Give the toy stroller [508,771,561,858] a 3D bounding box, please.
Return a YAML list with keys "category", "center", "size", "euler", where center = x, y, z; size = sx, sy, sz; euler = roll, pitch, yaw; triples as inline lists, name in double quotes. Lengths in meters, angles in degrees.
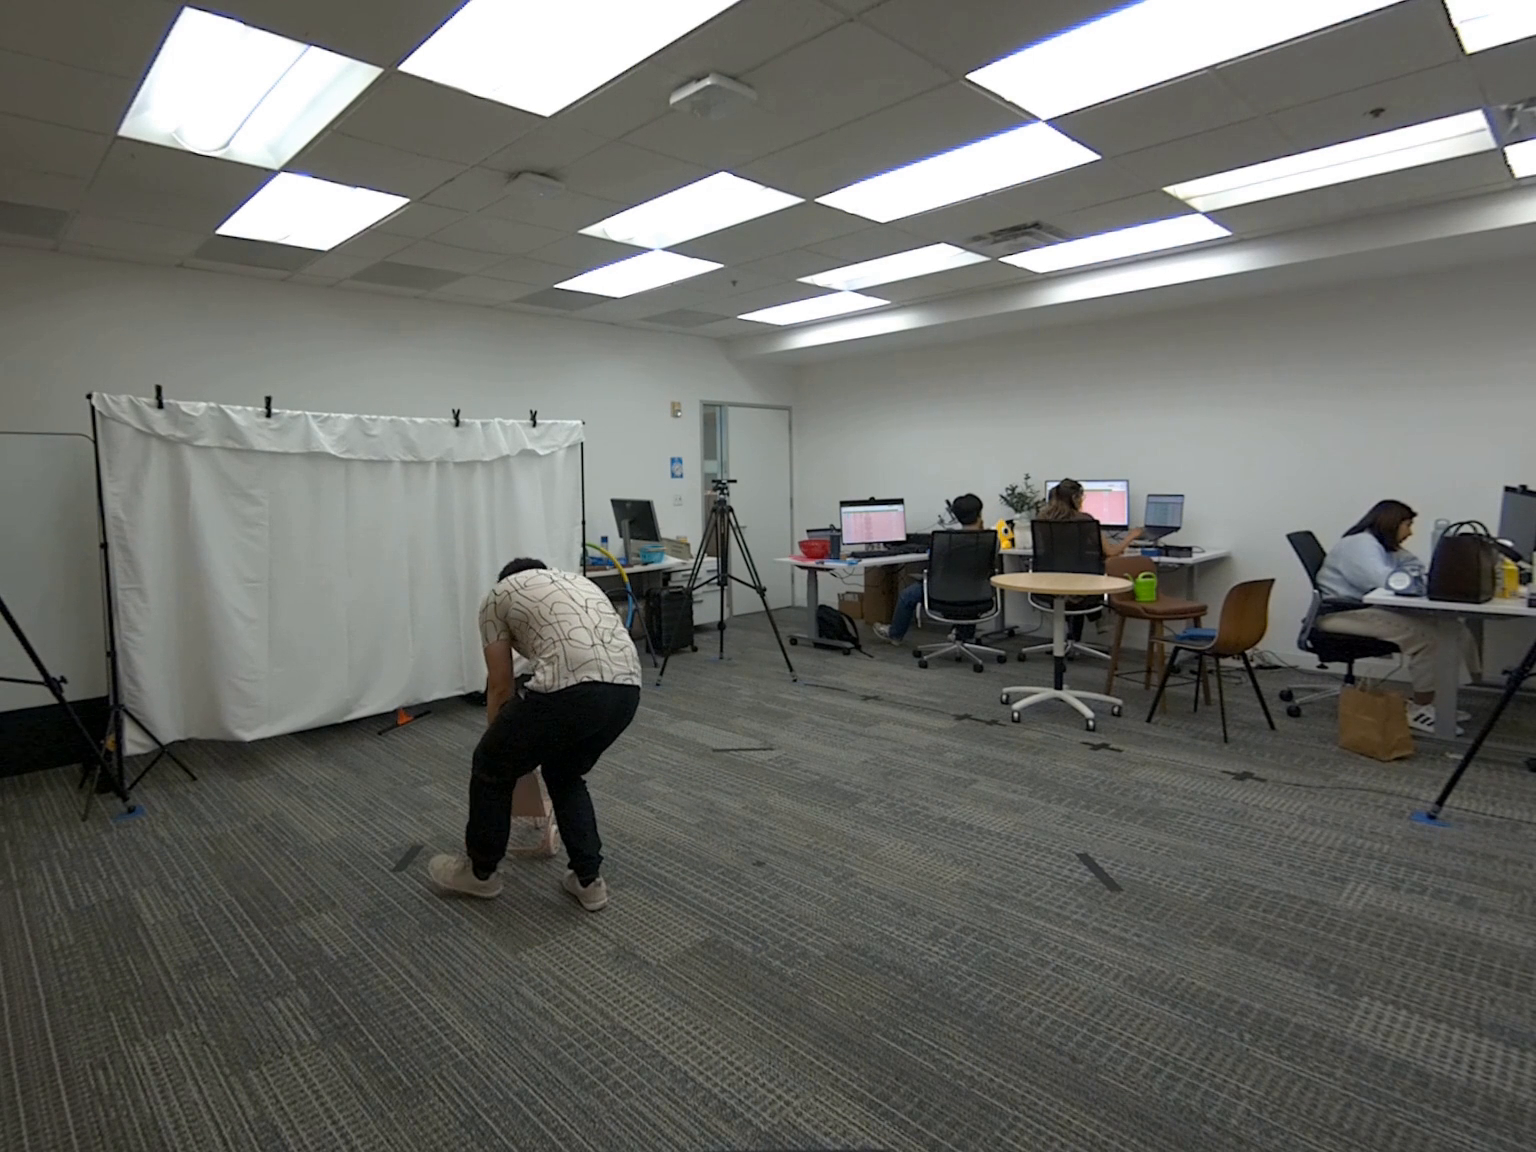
- category: "toy stroller"
  center: [-0.930, 0.827, 3.275]
  size: [0.283, 0.525, 0.346]
  euler: [0, 21, 4]
